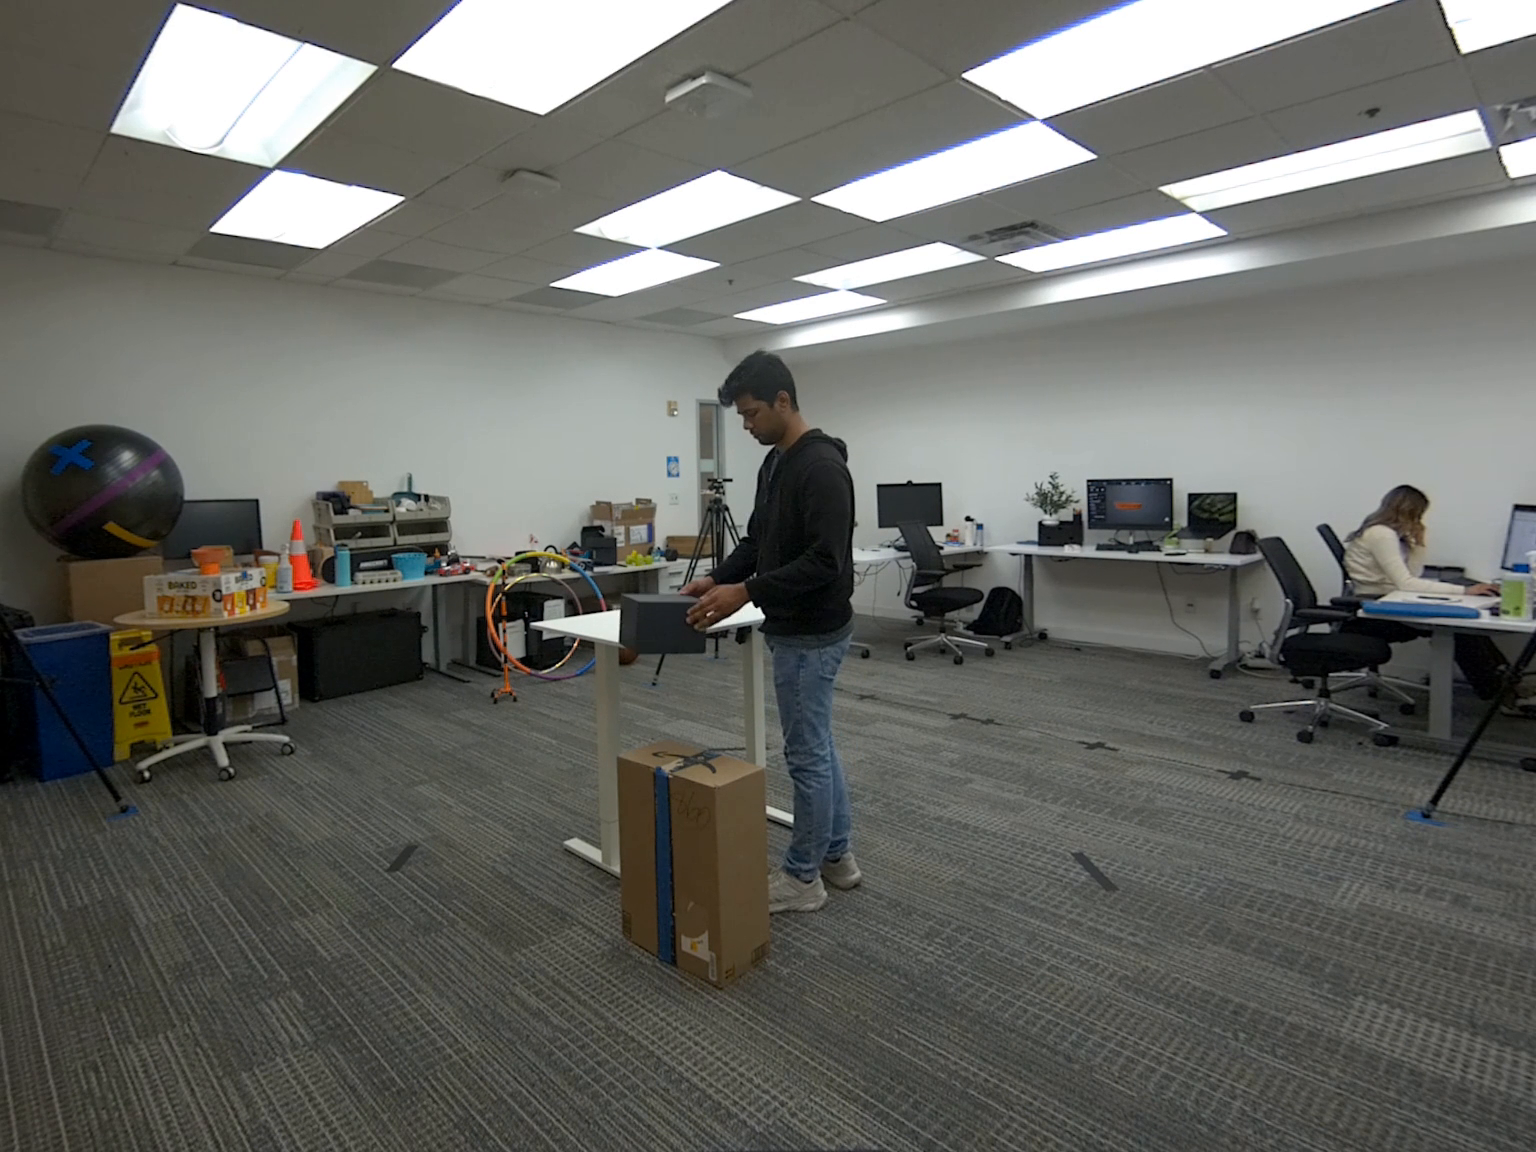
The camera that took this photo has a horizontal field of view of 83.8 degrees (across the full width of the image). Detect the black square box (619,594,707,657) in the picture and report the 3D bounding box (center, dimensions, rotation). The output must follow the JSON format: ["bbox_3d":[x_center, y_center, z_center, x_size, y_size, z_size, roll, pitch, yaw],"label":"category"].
[{"bbox_3d":[-0.318,0.149,2.615,0.213,0.156,0.232,2,3,-20],"label":"black square box"}]
